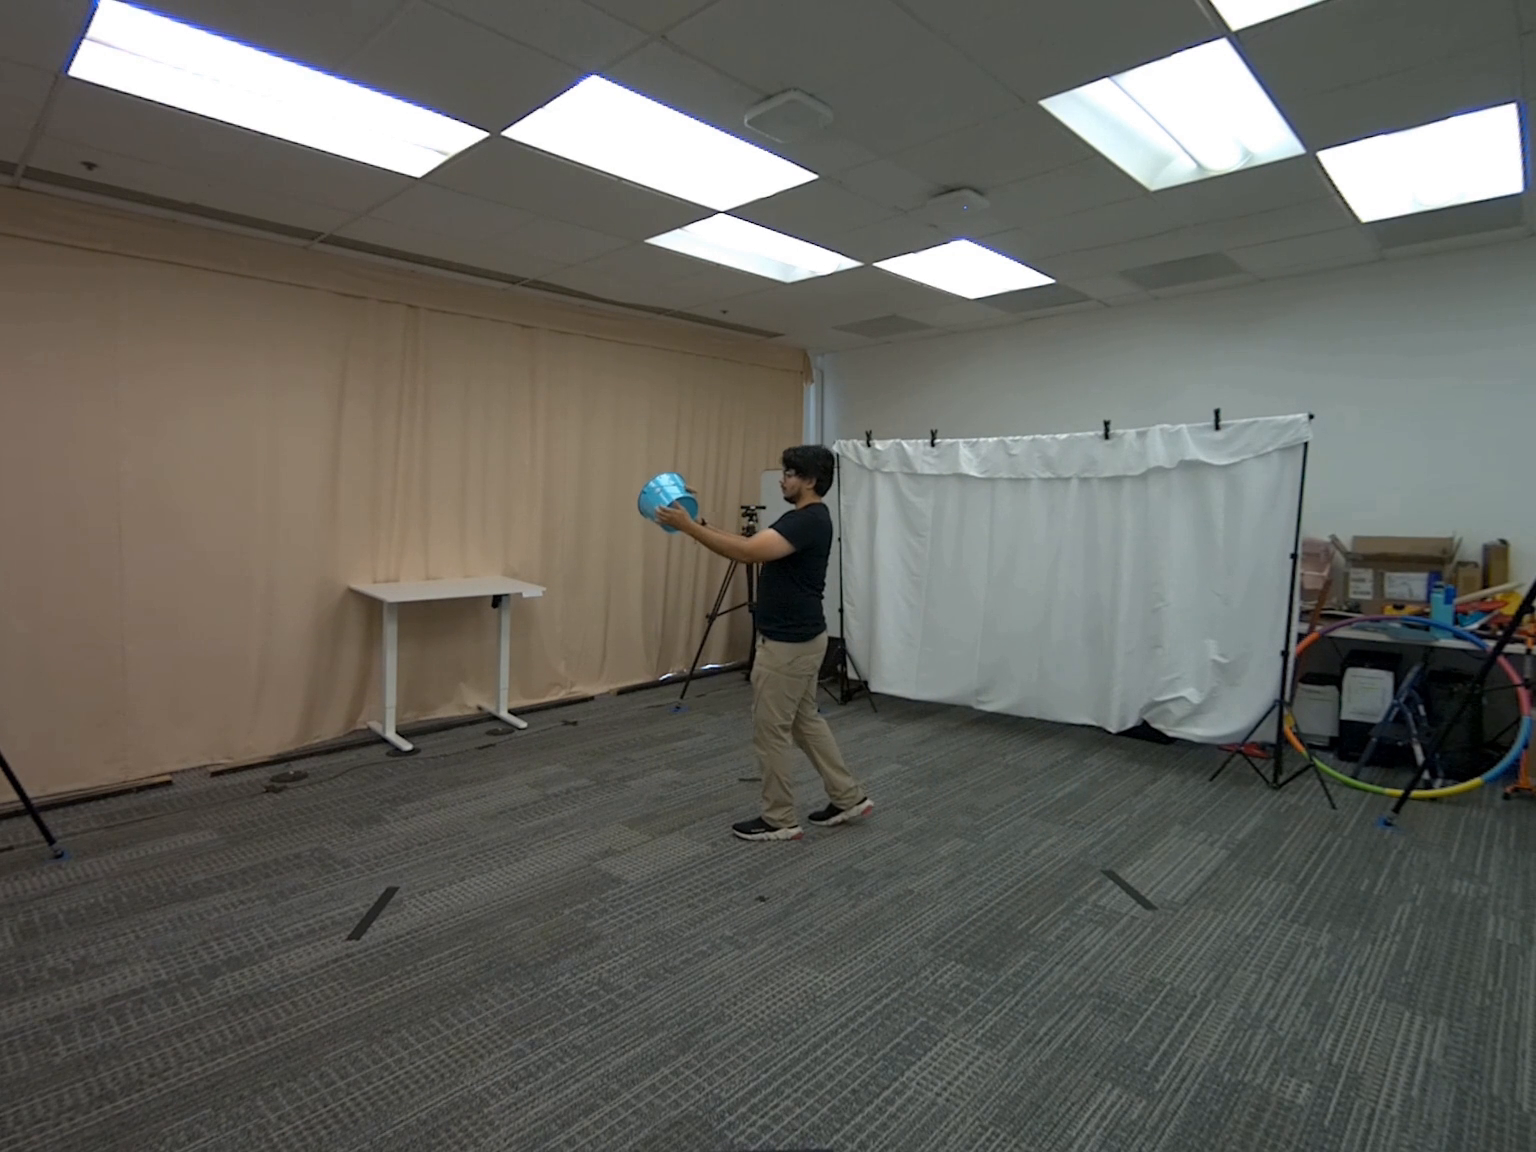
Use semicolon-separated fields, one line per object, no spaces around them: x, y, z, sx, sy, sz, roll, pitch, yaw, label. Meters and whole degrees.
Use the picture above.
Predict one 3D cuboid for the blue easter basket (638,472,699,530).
-0.403;-0.290;3.513;0.236;0.242;0.161;-3;37;-39;blue easter basket
